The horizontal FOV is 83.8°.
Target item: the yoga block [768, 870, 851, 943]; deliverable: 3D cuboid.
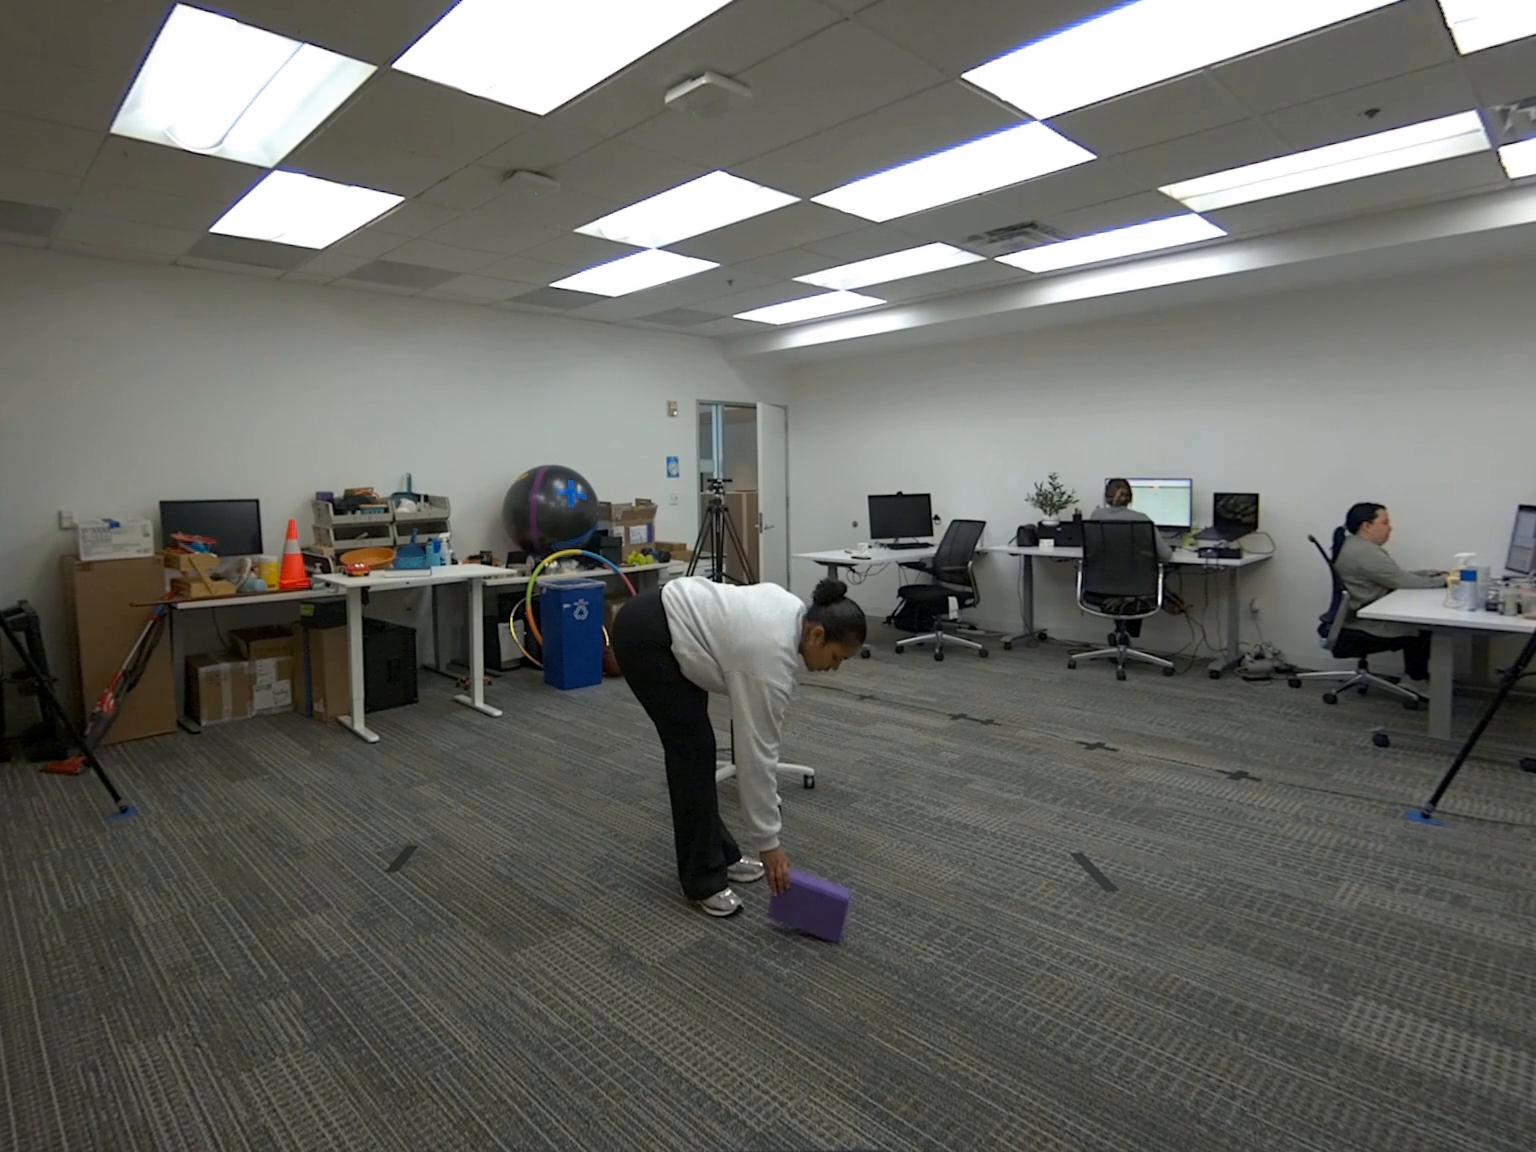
[{"bbox_3d":[0.131,0.985,2.610,0.233,0.148,0.075,10,5,16],"label":"yoga block"}]
